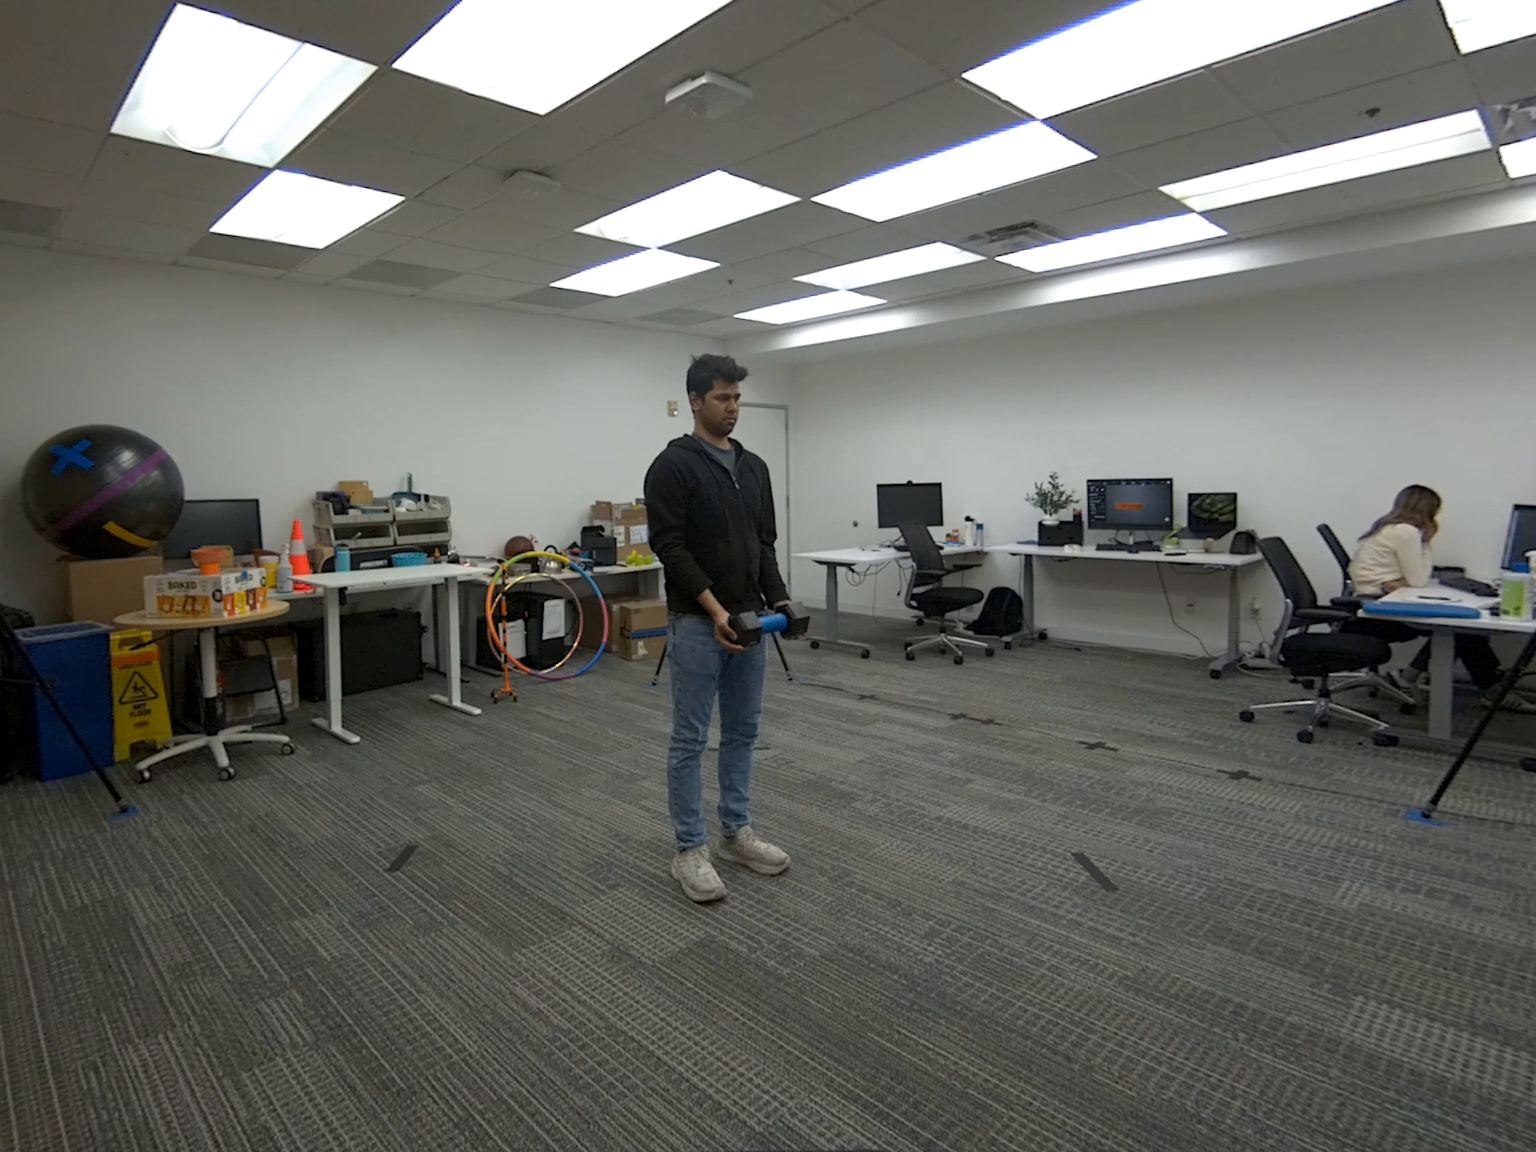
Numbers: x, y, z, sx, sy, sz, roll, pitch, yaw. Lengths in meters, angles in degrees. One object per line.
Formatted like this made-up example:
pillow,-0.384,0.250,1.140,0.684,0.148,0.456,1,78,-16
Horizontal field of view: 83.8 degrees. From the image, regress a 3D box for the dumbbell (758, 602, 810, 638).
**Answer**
dumbbell,-0.004,0.149,2.823,0.286,0.121,0.113,-10,26,-39
